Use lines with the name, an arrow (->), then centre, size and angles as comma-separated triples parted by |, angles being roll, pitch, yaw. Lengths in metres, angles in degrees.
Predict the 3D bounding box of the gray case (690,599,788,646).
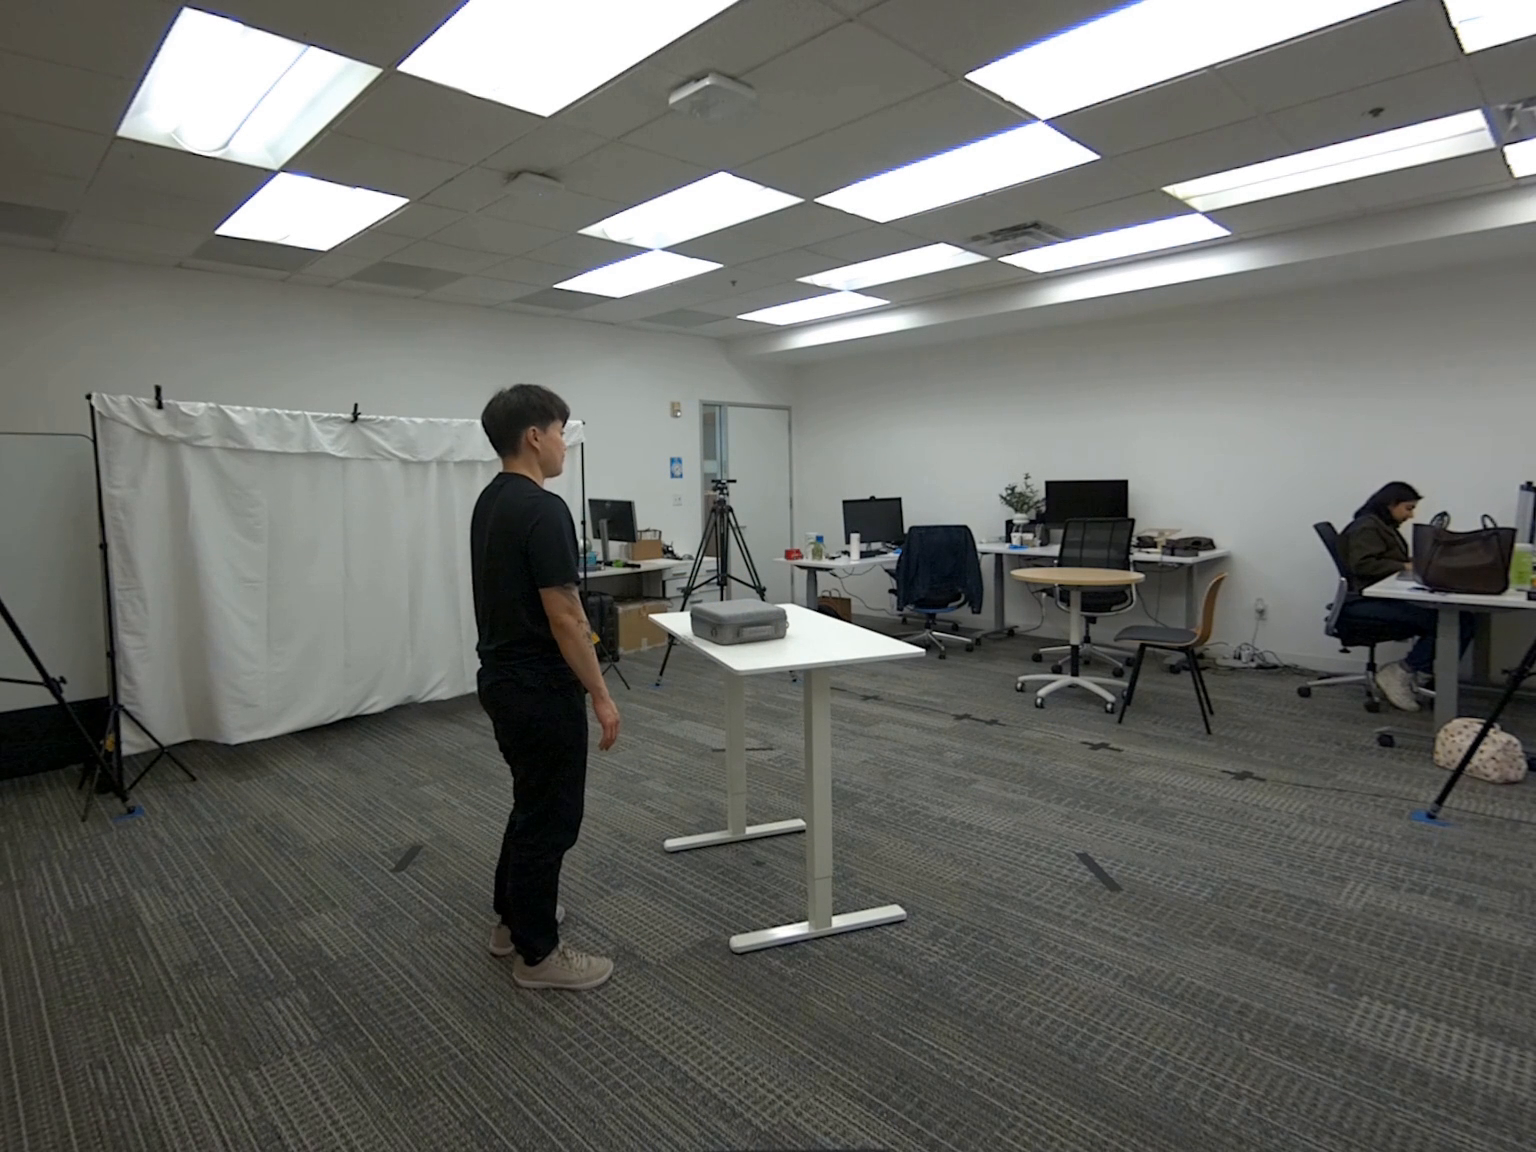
gray case -> -0.090, 0.147, 2.816 | 0.251, 0.104, 0.268 | -3, 8, -29
